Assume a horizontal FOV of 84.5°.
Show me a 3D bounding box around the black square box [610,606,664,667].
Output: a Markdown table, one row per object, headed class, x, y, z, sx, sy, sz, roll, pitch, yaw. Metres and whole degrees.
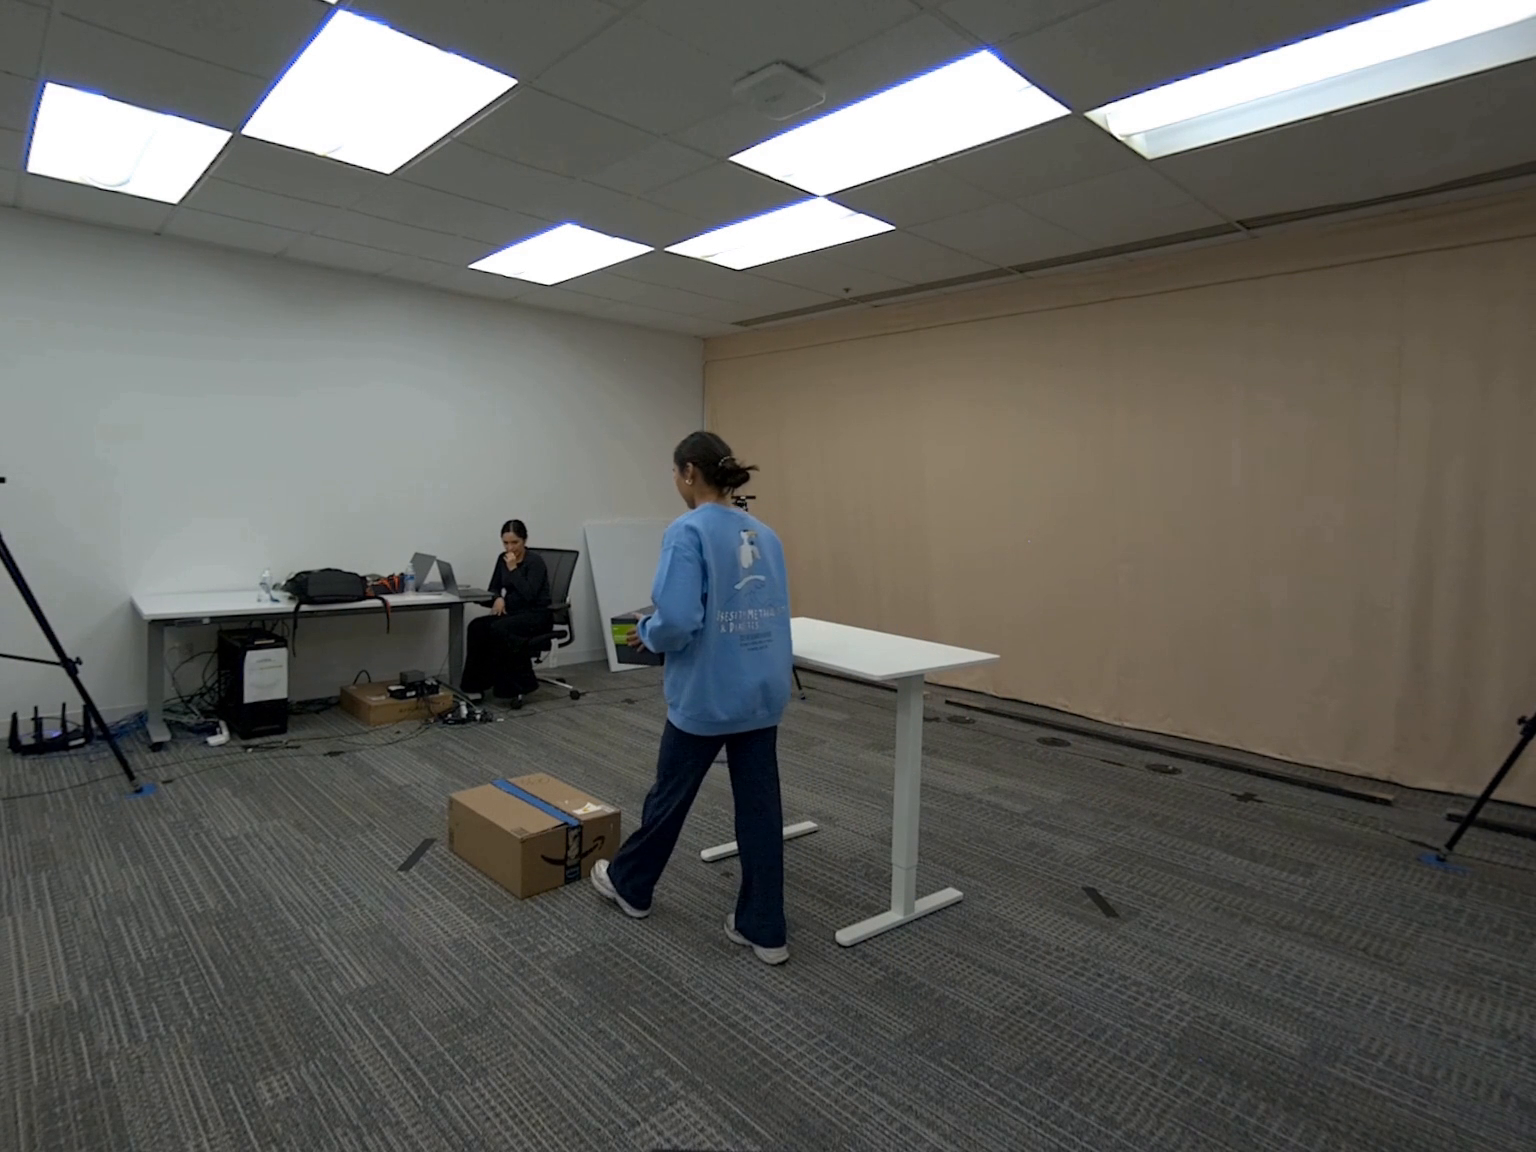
| class | x | y | z | sx | sy | sz | roll | pitch | yaw |
| --- | --- | --- | --- | --- | --- | --- | --- | --- | --- |
| black square box | -0.368 | 0.197 | 2.802 | 0.233 | 0.155 | 0.213 | -3 | 8 | 42 |
